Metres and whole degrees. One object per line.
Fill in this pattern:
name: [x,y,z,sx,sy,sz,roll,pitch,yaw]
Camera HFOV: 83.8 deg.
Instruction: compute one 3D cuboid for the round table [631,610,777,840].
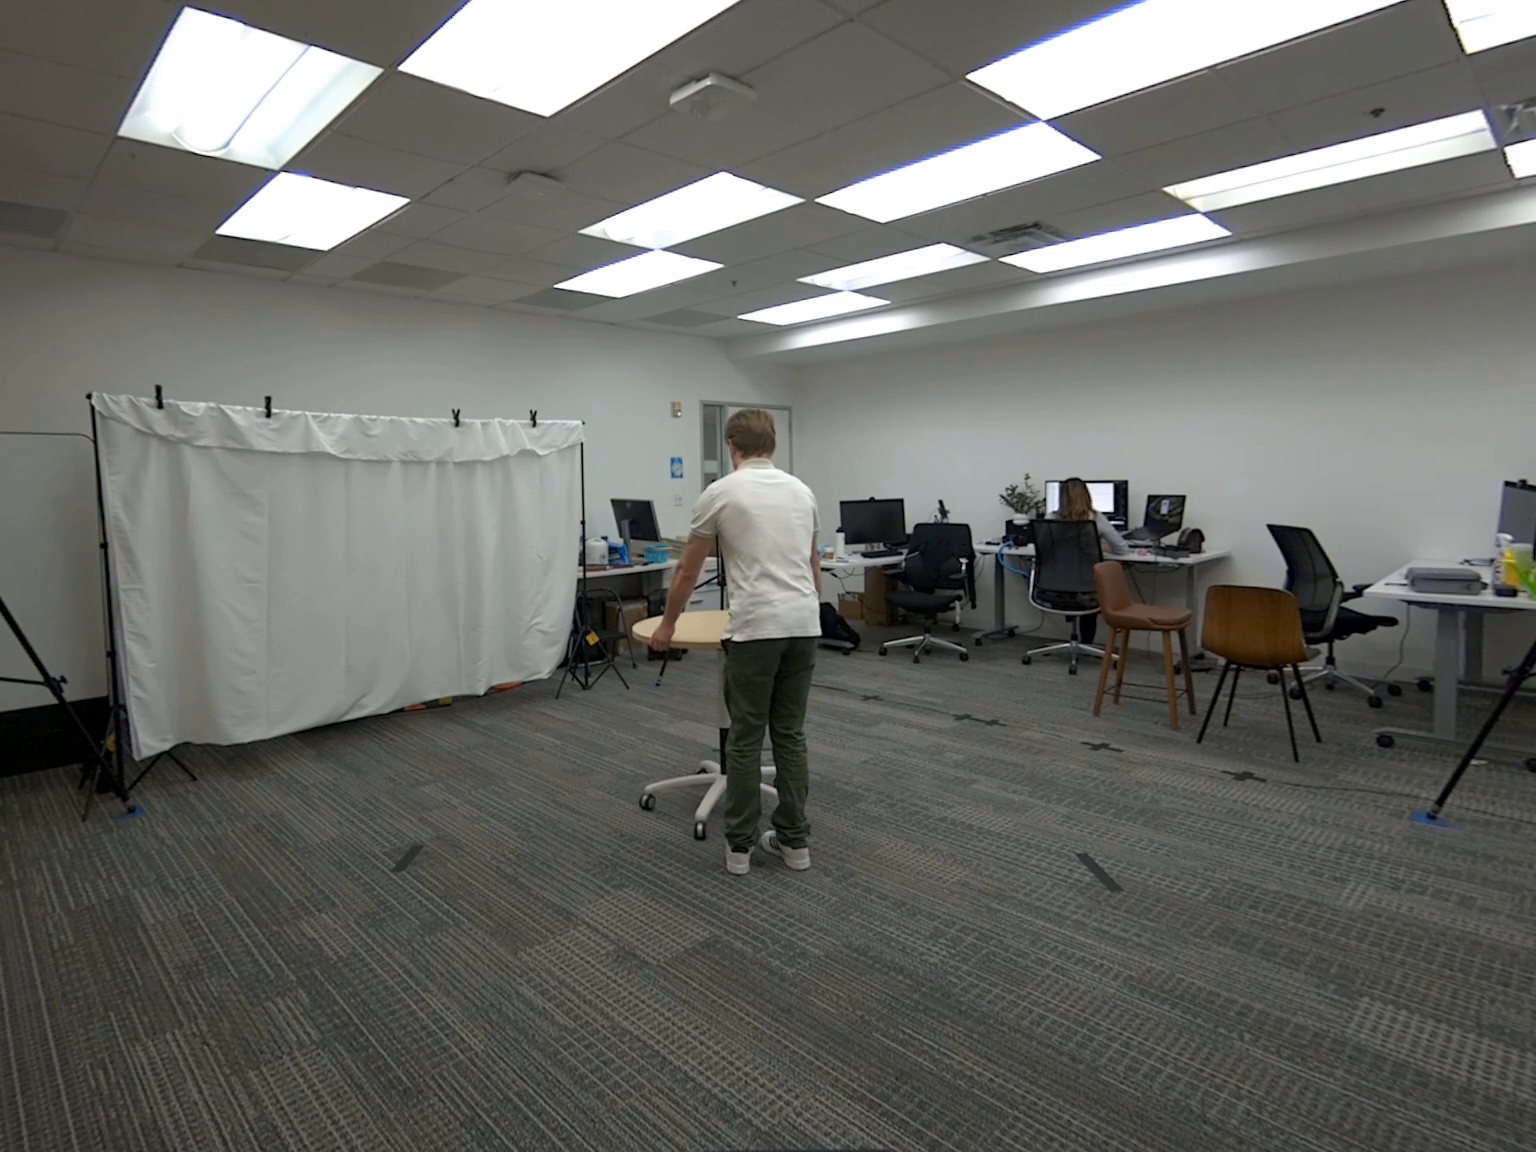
round table: [-0.184,0.598,3.649,0.763,0.791,0.768,-2,5,-2]
